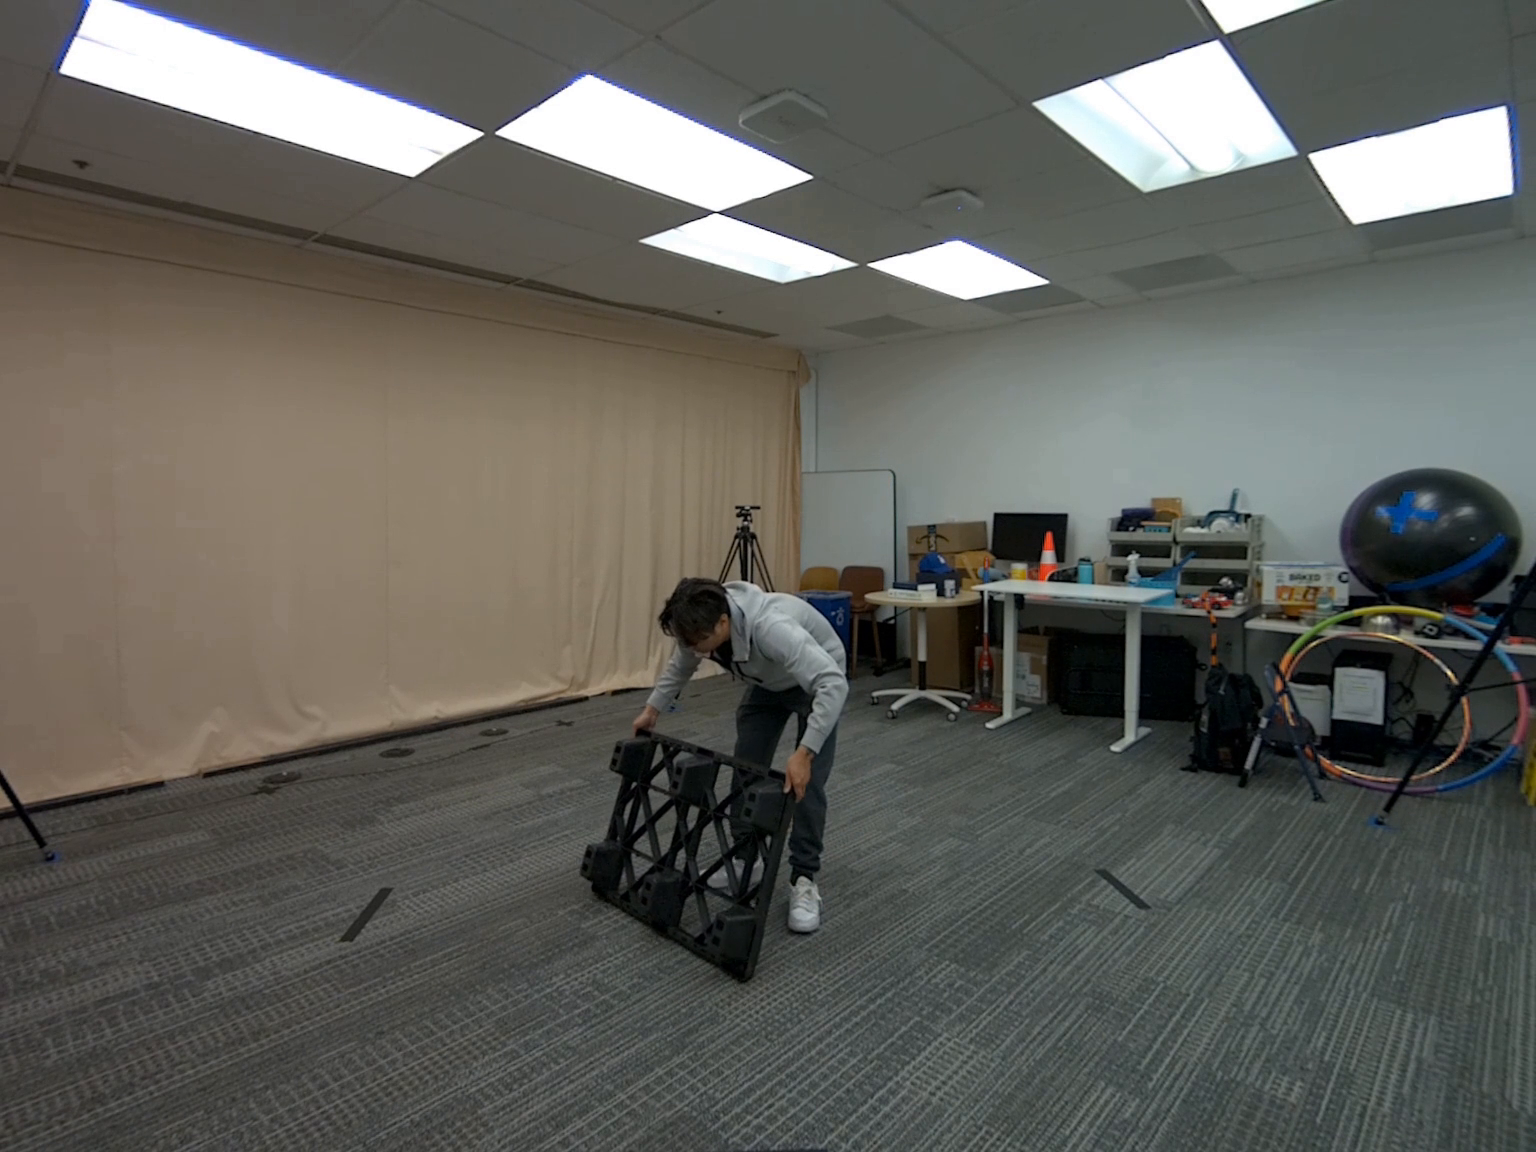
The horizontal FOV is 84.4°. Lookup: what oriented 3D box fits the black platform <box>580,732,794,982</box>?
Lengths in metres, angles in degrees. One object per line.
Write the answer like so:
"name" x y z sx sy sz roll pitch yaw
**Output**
"black platform" -0.295 0.856 2.767 0.833 0.607 0.138 4 -15 46
